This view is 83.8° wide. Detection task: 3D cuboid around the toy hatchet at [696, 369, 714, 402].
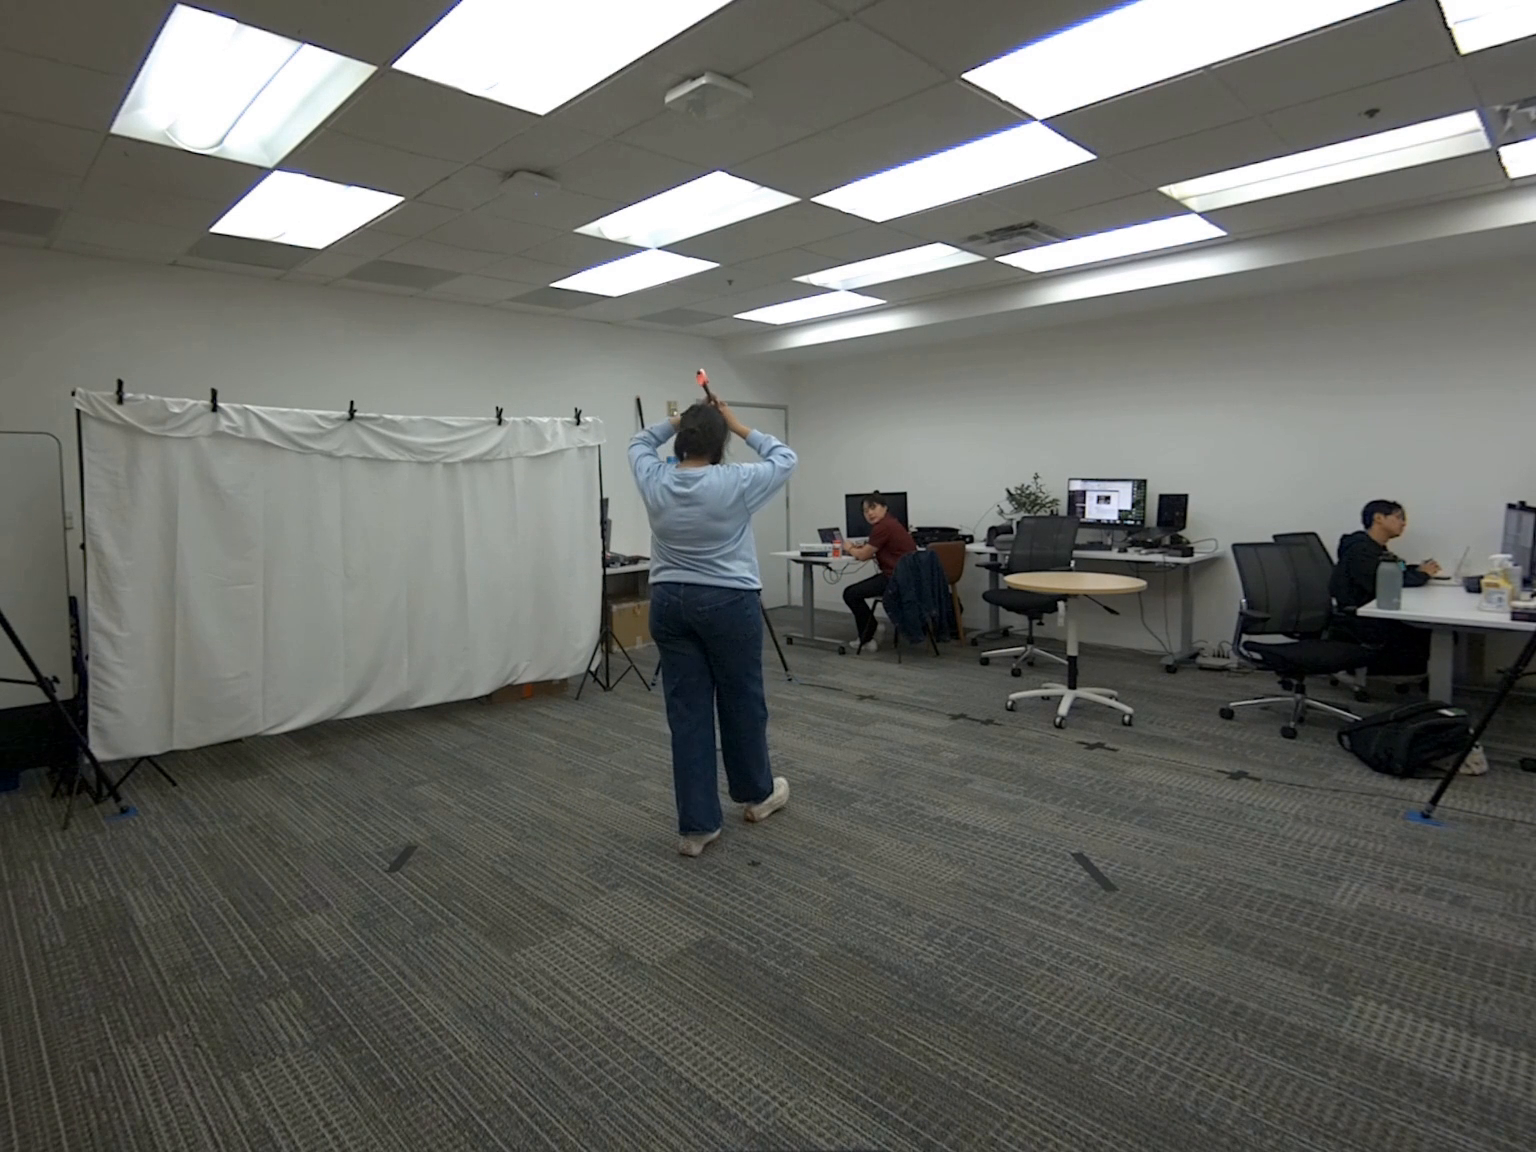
[{"bbox_3d":[-0.217,-0.719,3.363,0.030,0.135,0.260,-22,-38,13],"label":"toy hatchet"}]
